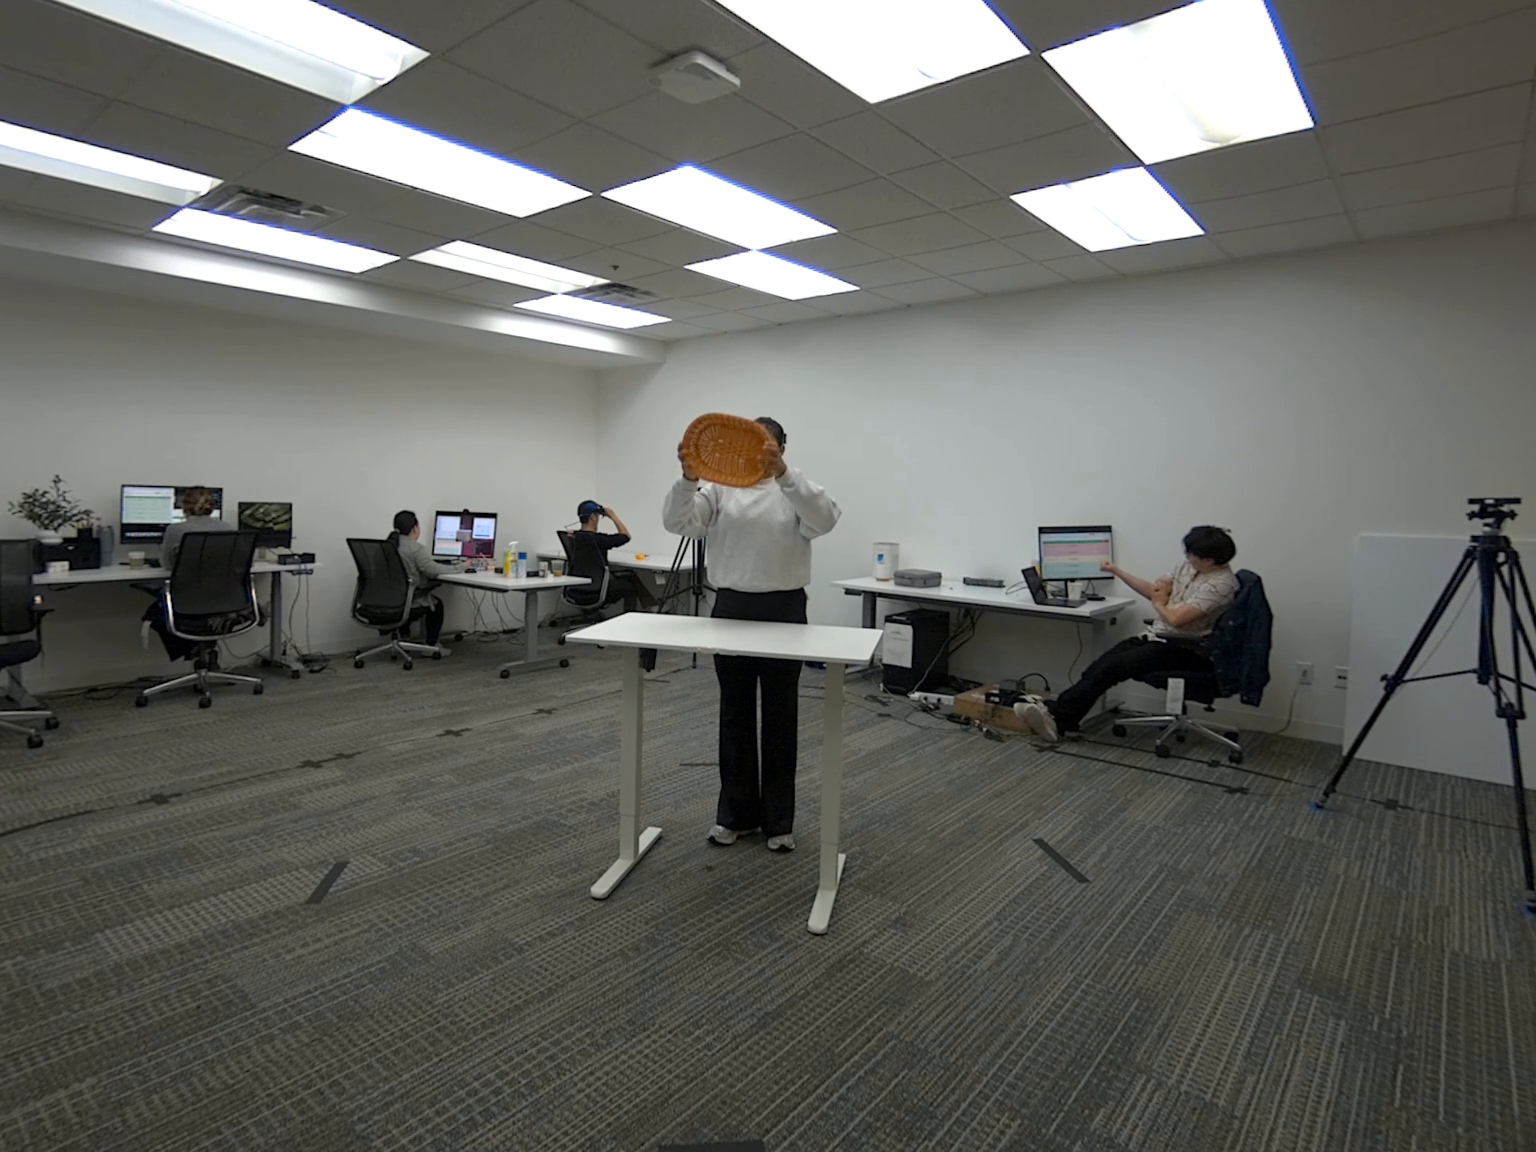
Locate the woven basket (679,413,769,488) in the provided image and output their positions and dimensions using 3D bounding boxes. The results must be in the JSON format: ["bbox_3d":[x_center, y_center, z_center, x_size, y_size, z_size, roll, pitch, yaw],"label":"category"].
[{"bbox_3d":[-0.154,-0.445,3.058,0.358,0.250,0.072,19,13,18],"label":"woven basket"}]
